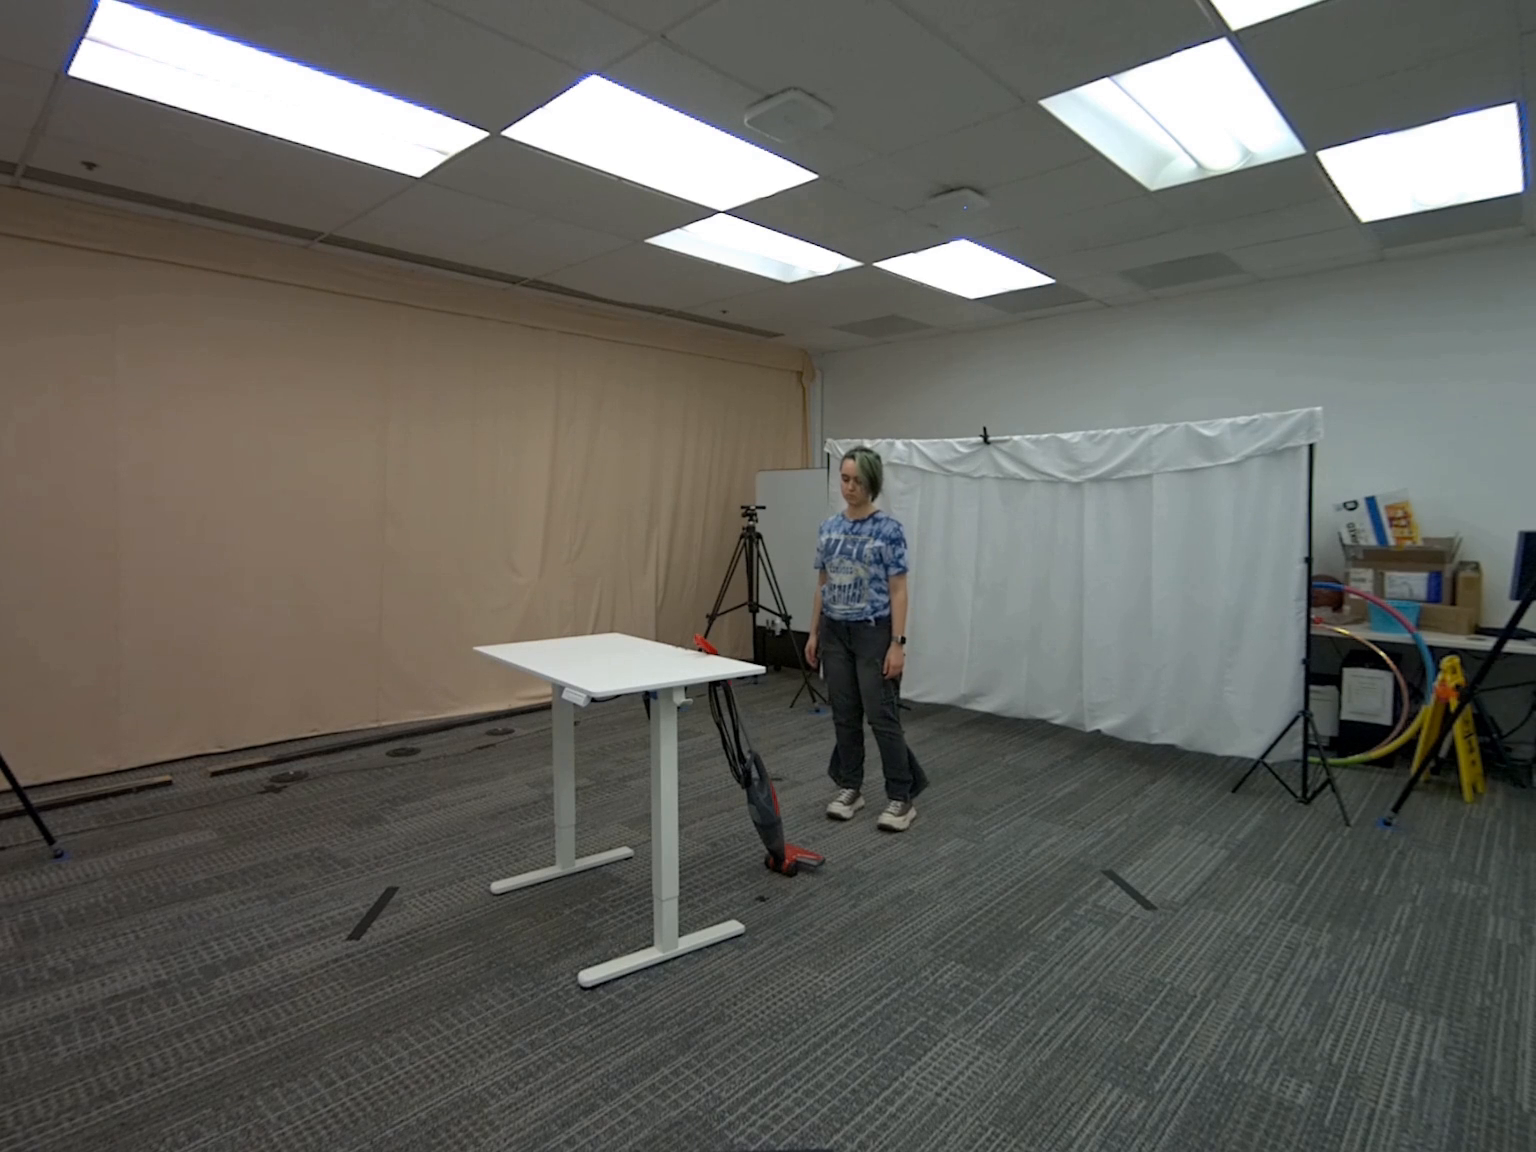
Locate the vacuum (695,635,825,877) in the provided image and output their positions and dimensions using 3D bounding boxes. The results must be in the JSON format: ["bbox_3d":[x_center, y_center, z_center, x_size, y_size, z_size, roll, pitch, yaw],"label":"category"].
[{"bbox_3d":[-0.077,0.660,3.042,0.261,1.028,0.142,2,31,42],"label":"vacuum"}]
